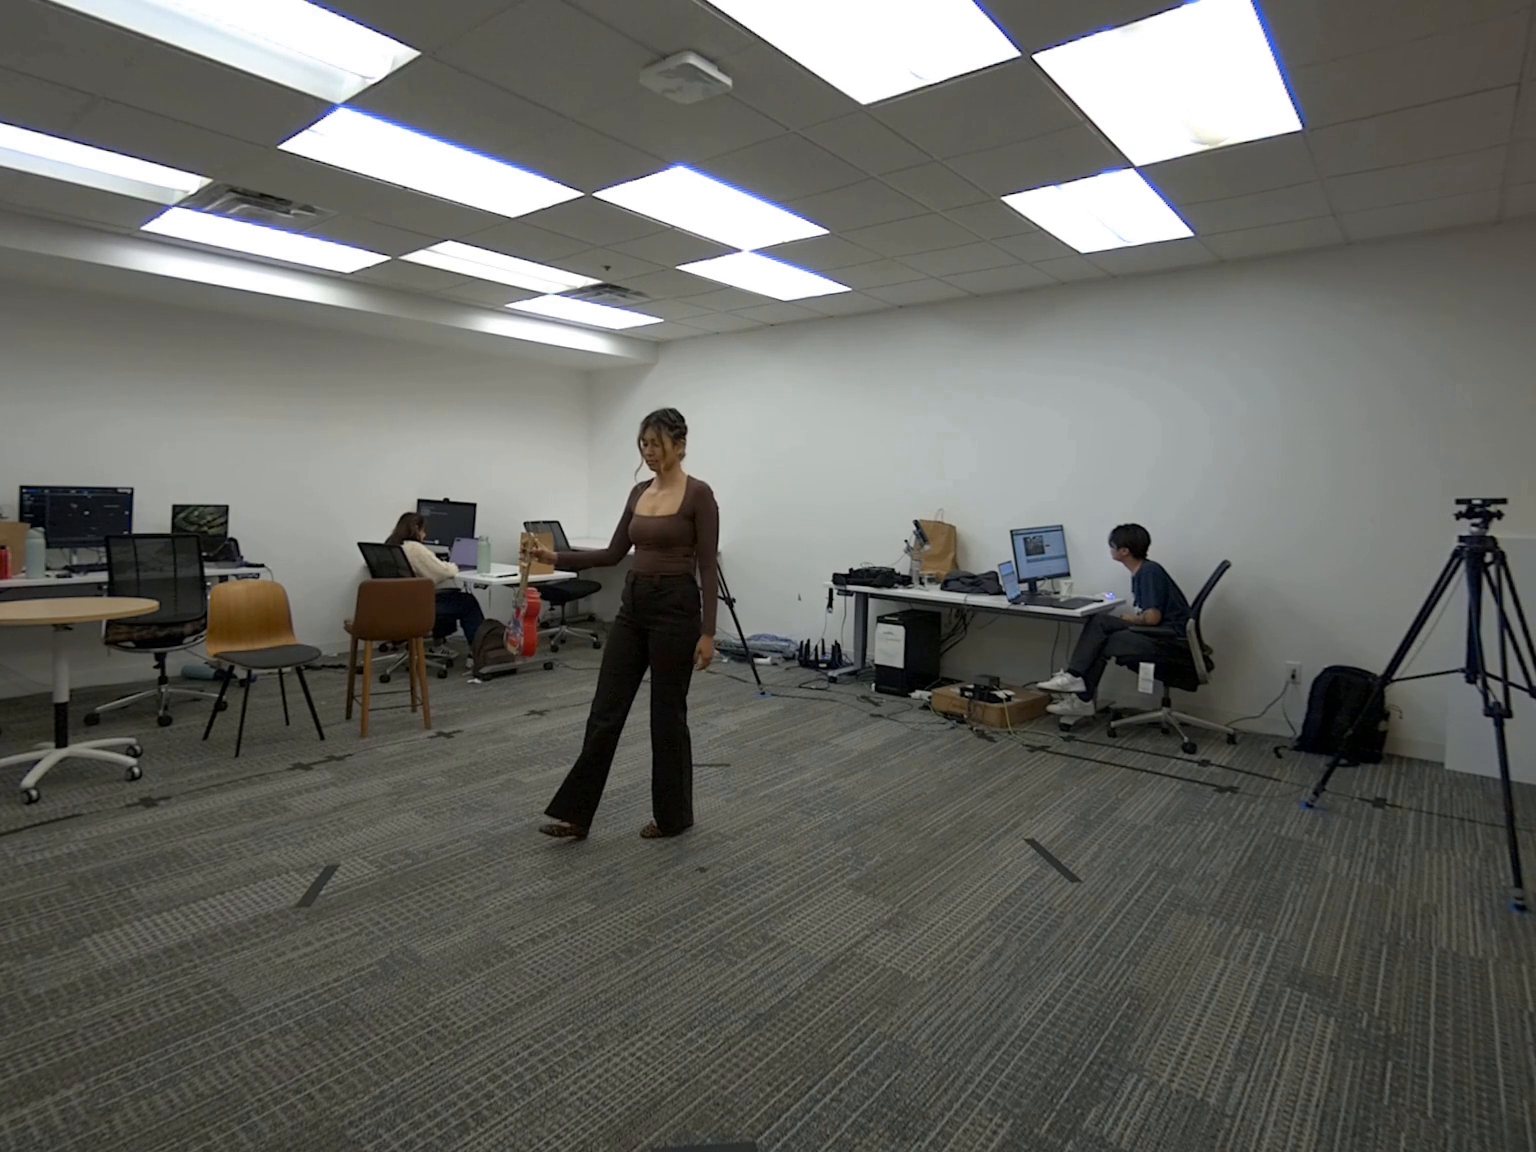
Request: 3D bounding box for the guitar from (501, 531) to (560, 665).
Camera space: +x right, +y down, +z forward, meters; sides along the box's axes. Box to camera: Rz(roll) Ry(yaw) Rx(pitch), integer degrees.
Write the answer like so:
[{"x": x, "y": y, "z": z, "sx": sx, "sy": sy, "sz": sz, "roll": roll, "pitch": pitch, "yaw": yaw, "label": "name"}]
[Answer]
[{"x": -0.965, "y": 0.085, "z": 3.400, "sx": 0.068, "sy": 0.494, "sz": 0.201, "roll": 6, "pitch": 16, "yaw": -38, "label": "guitar"}]
